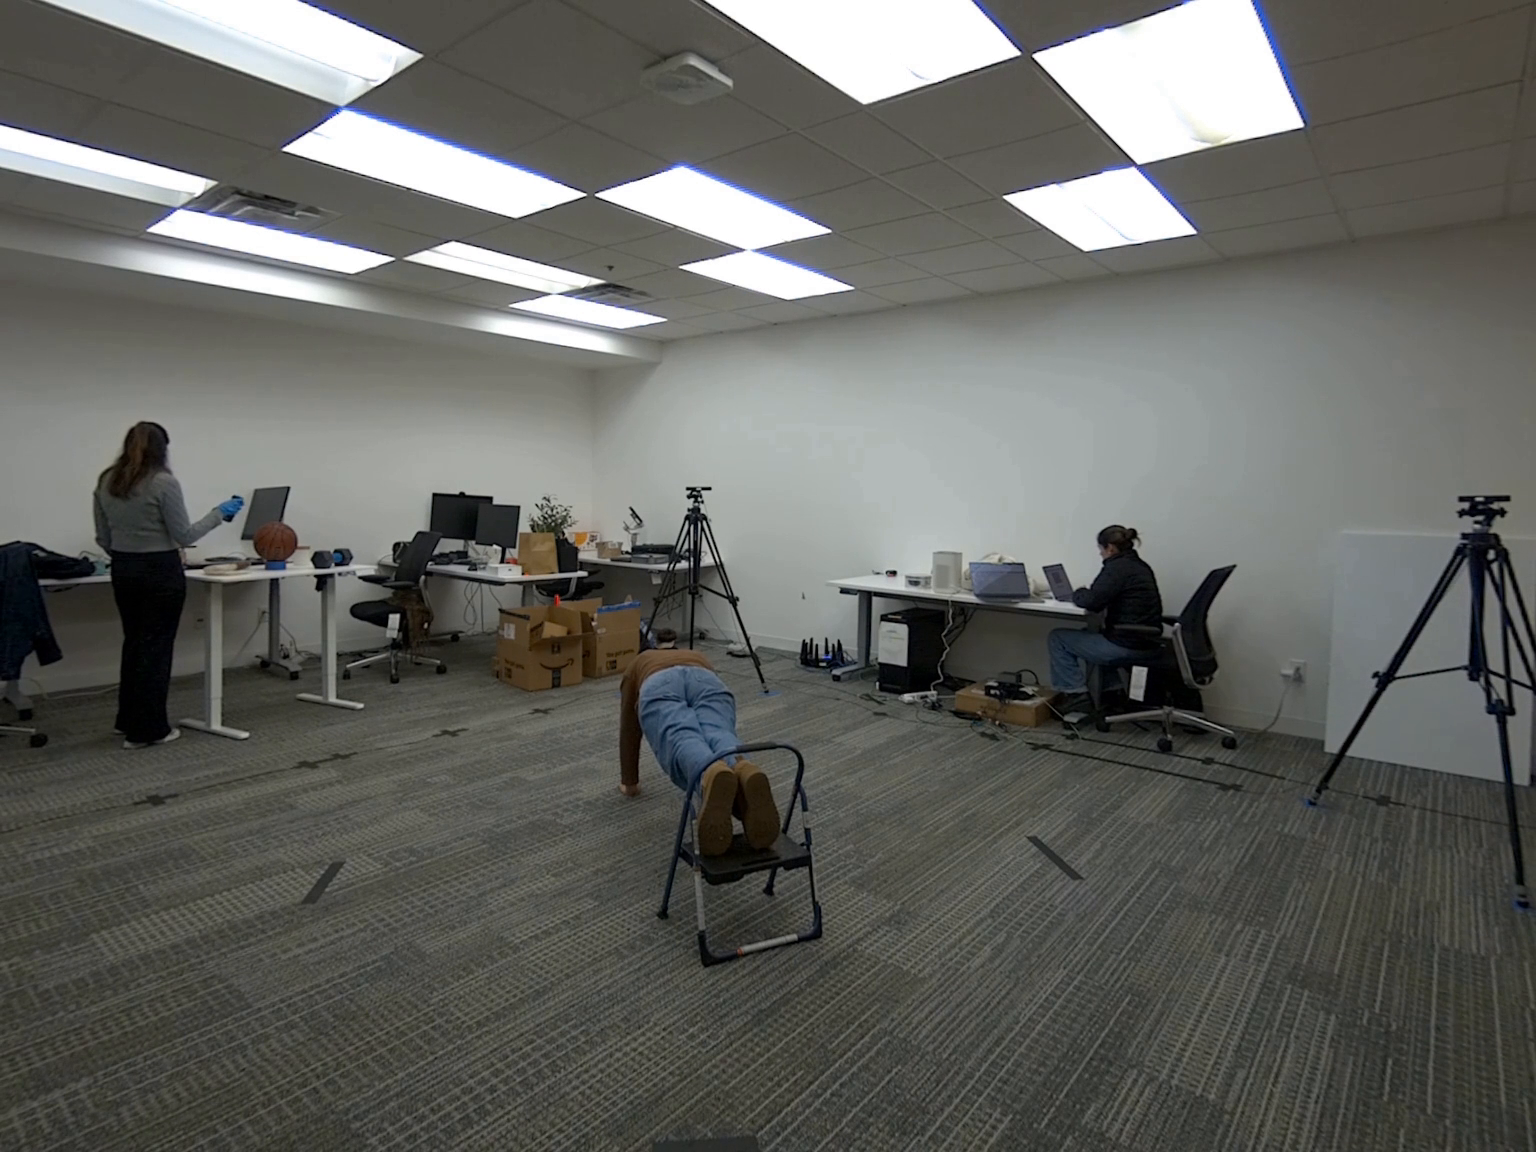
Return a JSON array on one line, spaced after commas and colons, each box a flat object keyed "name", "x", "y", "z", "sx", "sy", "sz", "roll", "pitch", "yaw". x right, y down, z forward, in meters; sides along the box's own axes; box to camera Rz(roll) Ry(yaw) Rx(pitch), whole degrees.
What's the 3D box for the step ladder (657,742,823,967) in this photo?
[{"name": "step ladder", "x": -0.092, "y": 0.810, "z": 2.687, "sx": 0.419, "sy": 0.604, "sz": 0.360, "roll": -1, "pitch": 4, "yaw": -29}]
